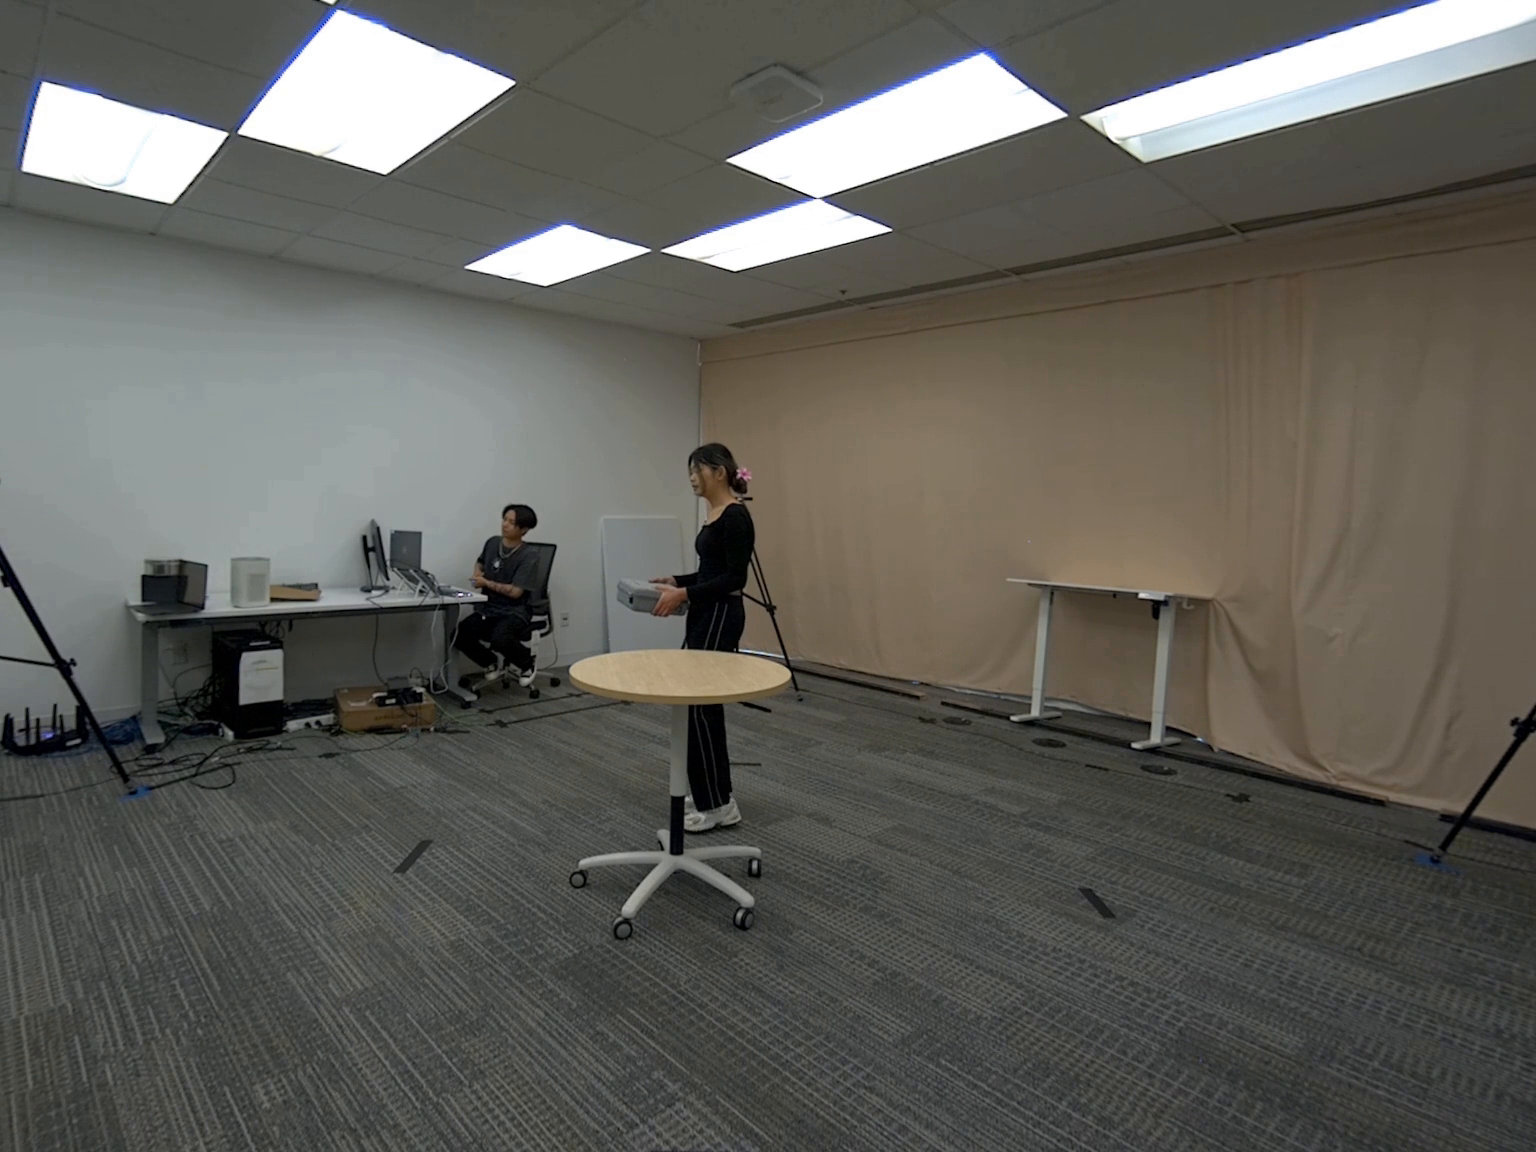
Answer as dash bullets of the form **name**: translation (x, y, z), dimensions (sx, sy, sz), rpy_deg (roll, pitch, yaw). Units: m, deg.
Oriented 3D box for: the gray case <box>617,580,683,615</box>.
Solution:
- **gray case**: translation (-0.497, 0.088, 3.598), dimensions (0.256, 0.104, 0.261), rpy_deg (9, 4, -19)
